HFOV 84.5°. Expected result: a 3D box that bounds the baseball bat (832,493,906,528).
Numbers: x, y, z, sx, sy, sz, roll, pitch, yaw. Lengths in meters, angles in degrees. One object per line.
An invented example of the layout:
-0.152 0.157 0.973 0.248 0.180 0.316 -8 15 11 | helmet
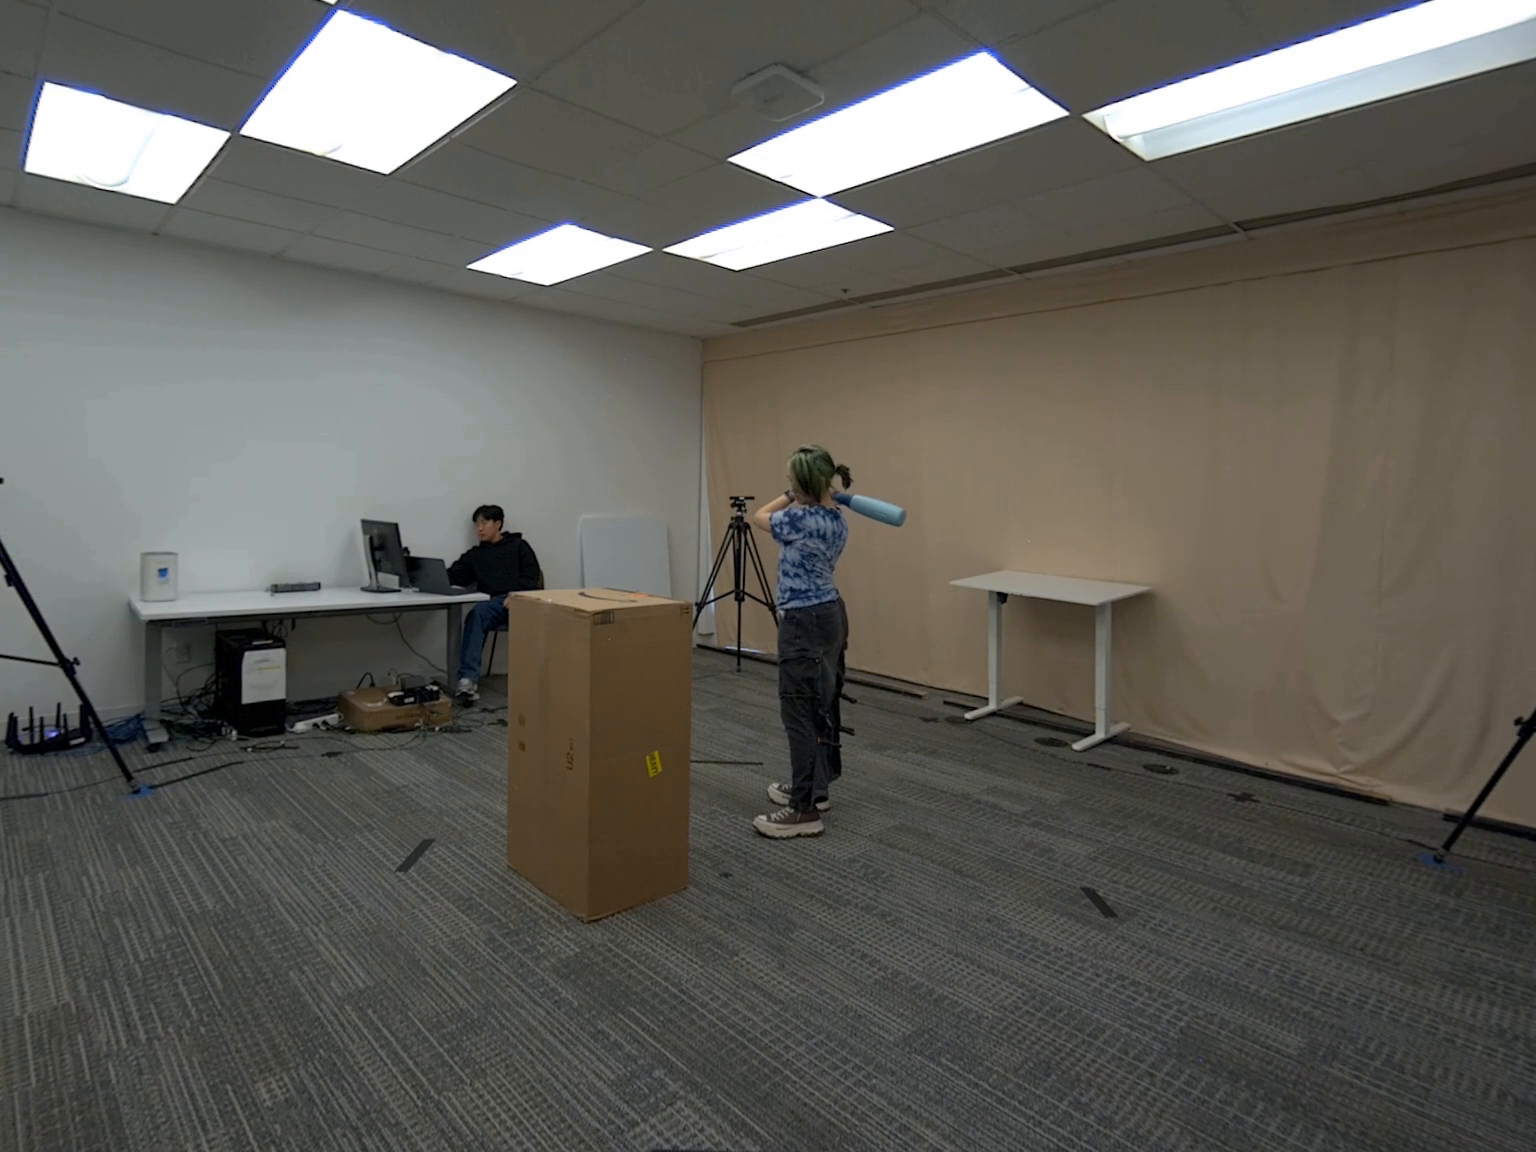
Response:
0.359 -0.337 3.806 0.557 0.088 0.087 22 14 29 | baseball bat
